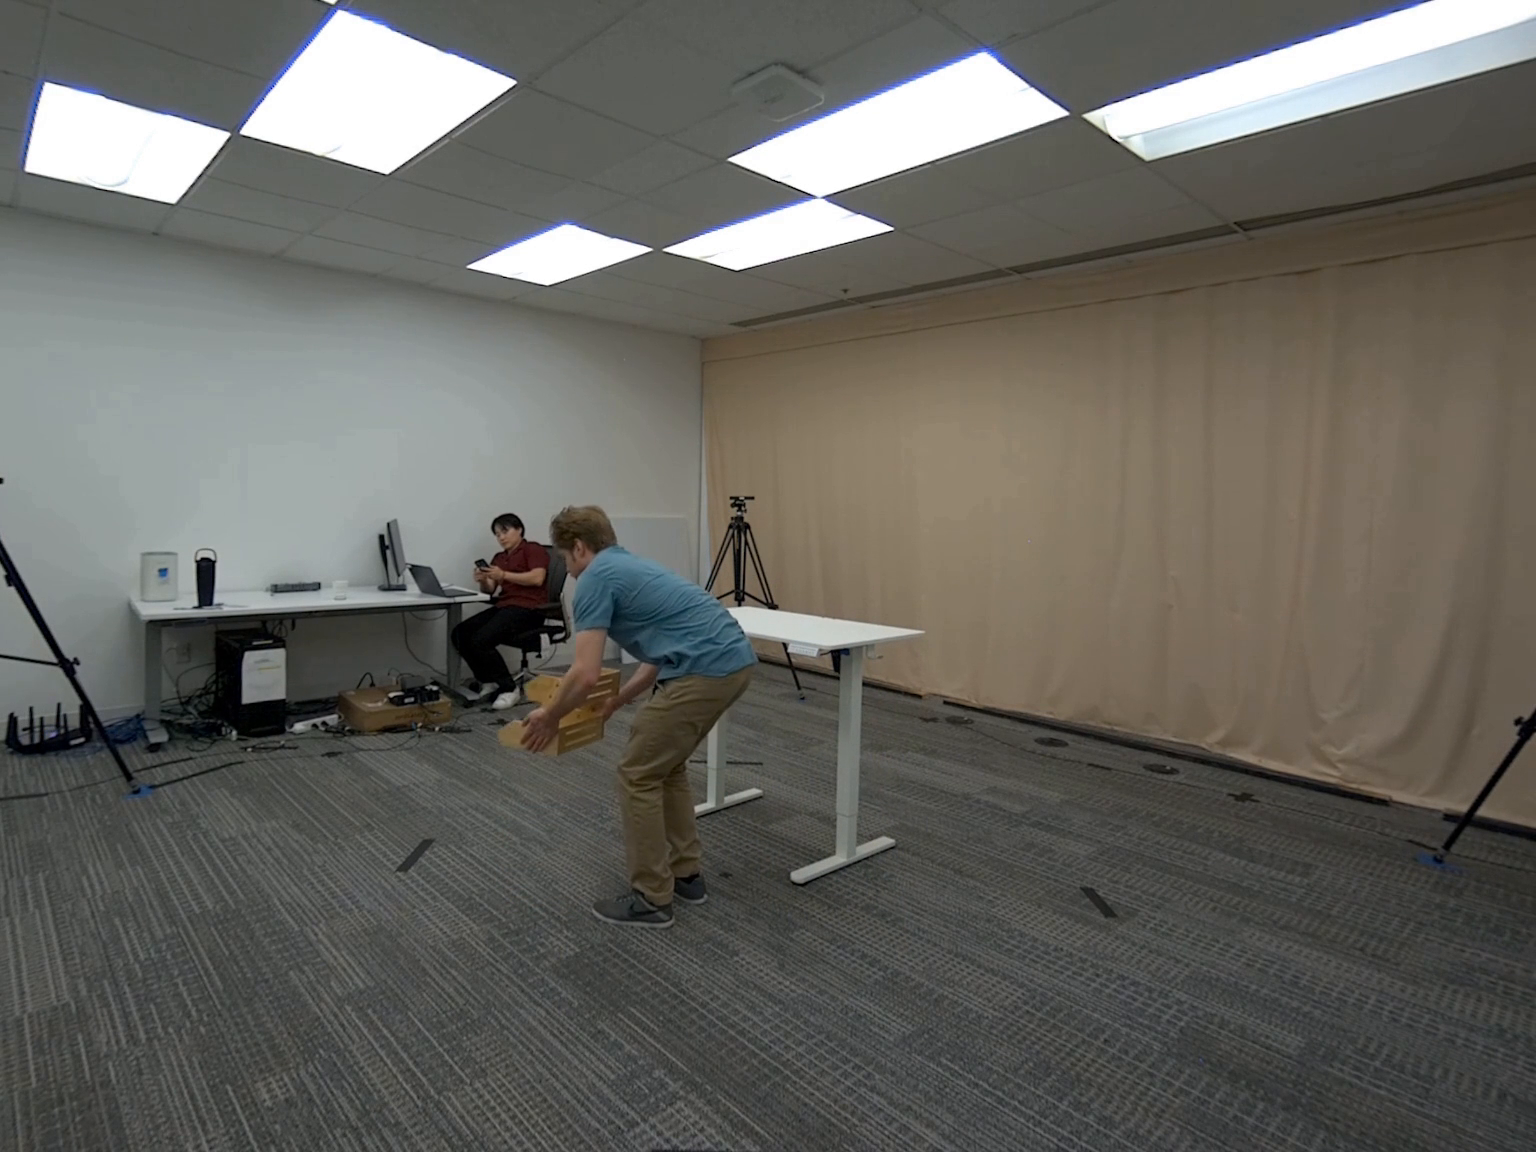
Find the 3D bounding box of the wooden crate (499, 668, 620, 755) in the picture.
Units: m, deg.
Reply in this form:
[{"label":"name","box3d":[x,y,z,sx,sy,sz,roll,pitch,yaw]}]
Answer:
[{"label":"wooden crate","box3d":[-0.742,0.463,2.992,0.307,0.273,0.319,6,2,20]}]
